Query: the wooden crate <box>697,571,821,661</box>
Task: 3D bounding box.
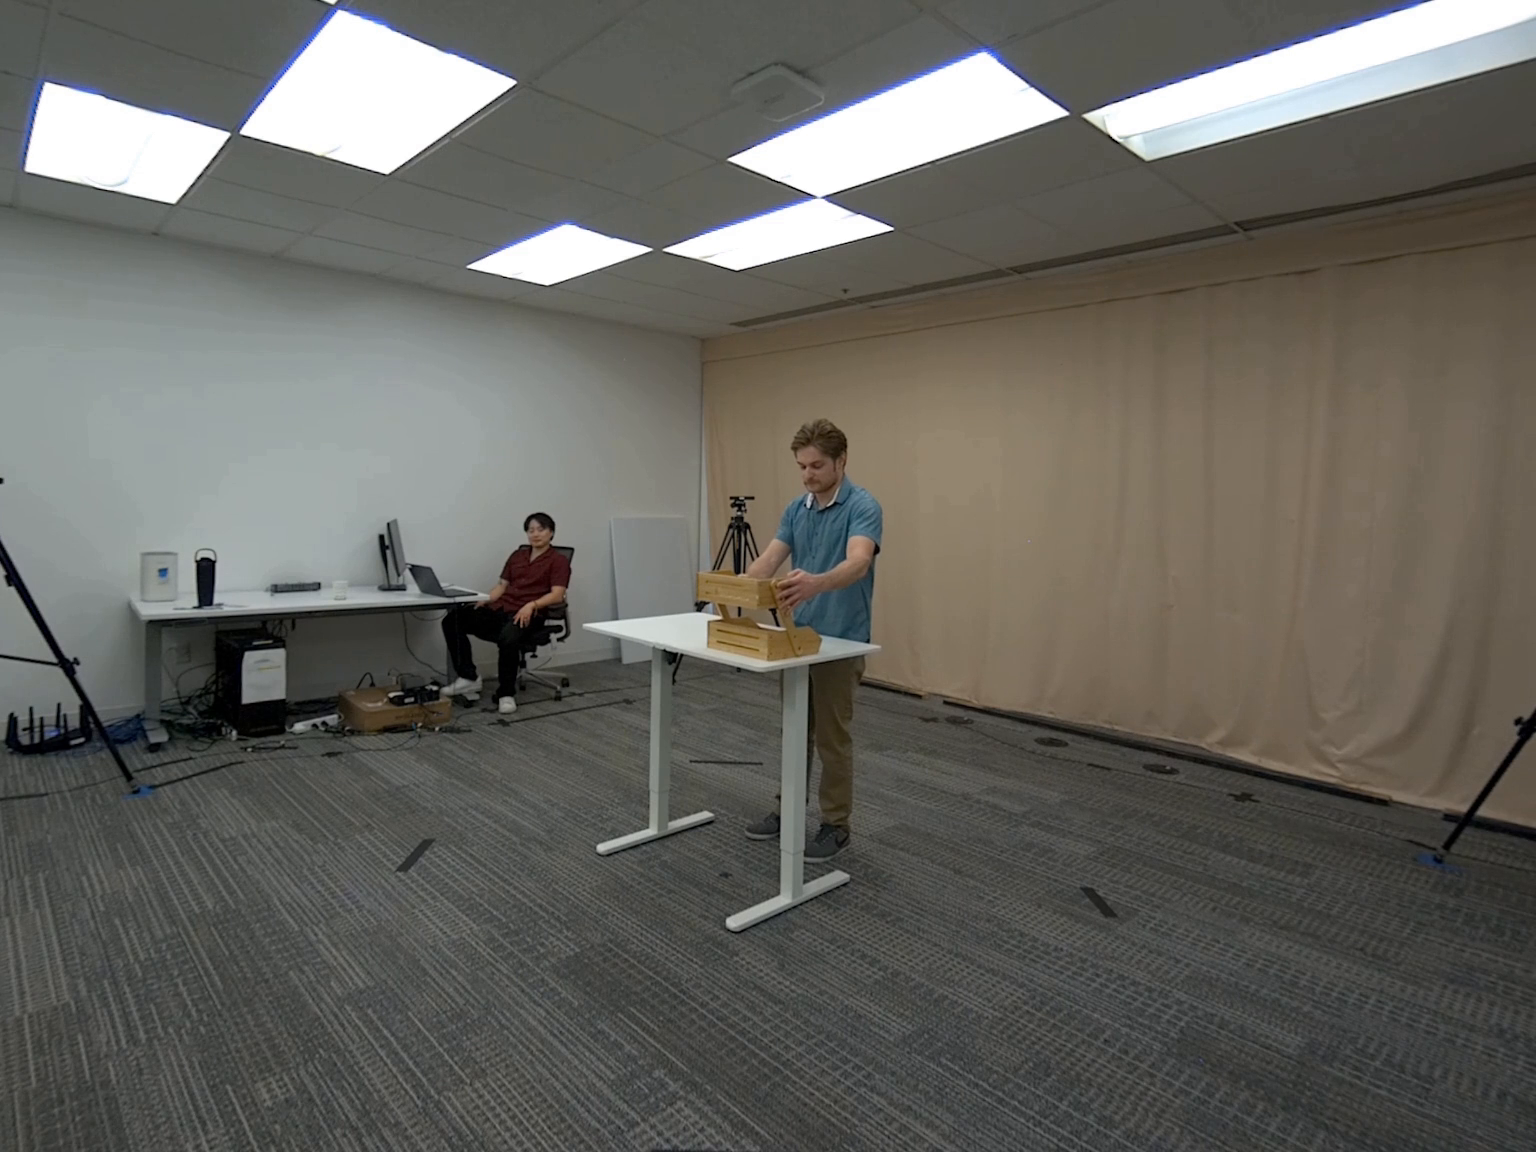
[{"bbox_3d":[-0.039,0.120,2.814,0.295,0.272,0.333,-4,7,-44],"label":"wooden crate"}]
